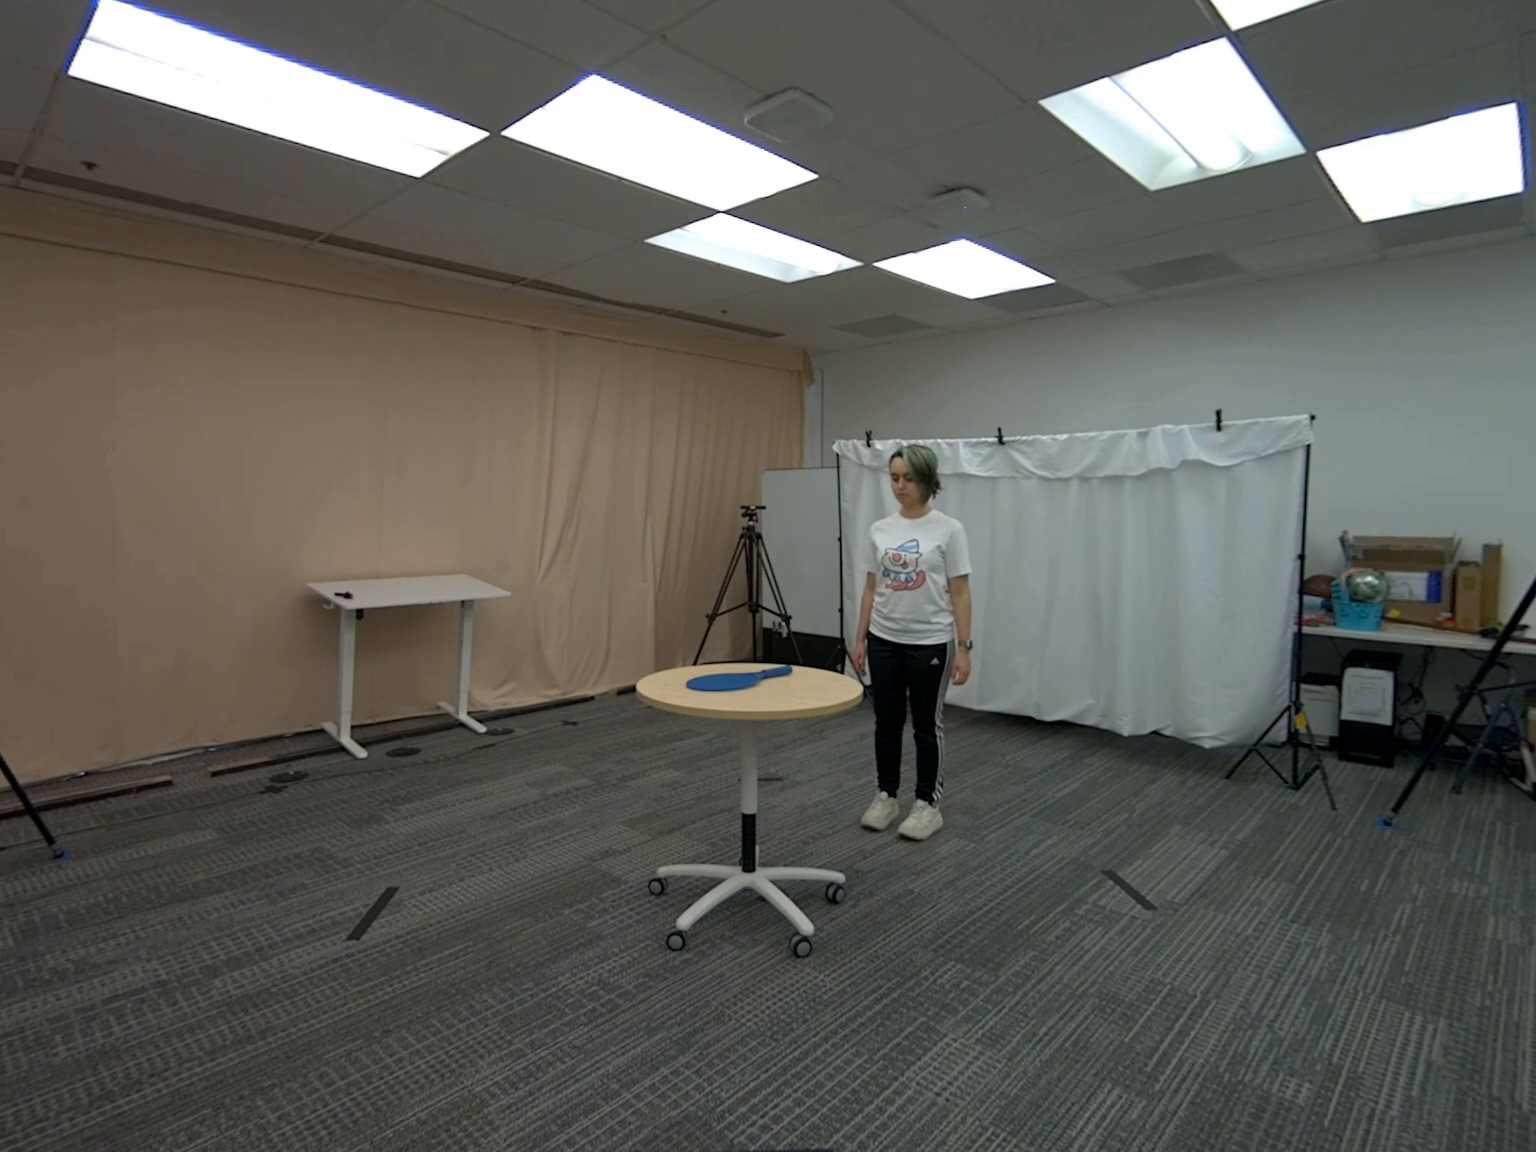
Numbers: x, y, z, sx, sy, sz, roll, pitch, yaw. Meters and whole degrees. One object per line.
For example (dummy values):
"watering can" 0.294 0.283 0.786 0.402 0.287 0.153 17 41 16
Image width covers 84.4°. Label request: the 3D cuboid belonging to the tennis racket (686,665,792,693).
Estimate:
"tennis racket" -0.089 0.359 2.897 0.421 0.031 0.220 -5 7 -34
